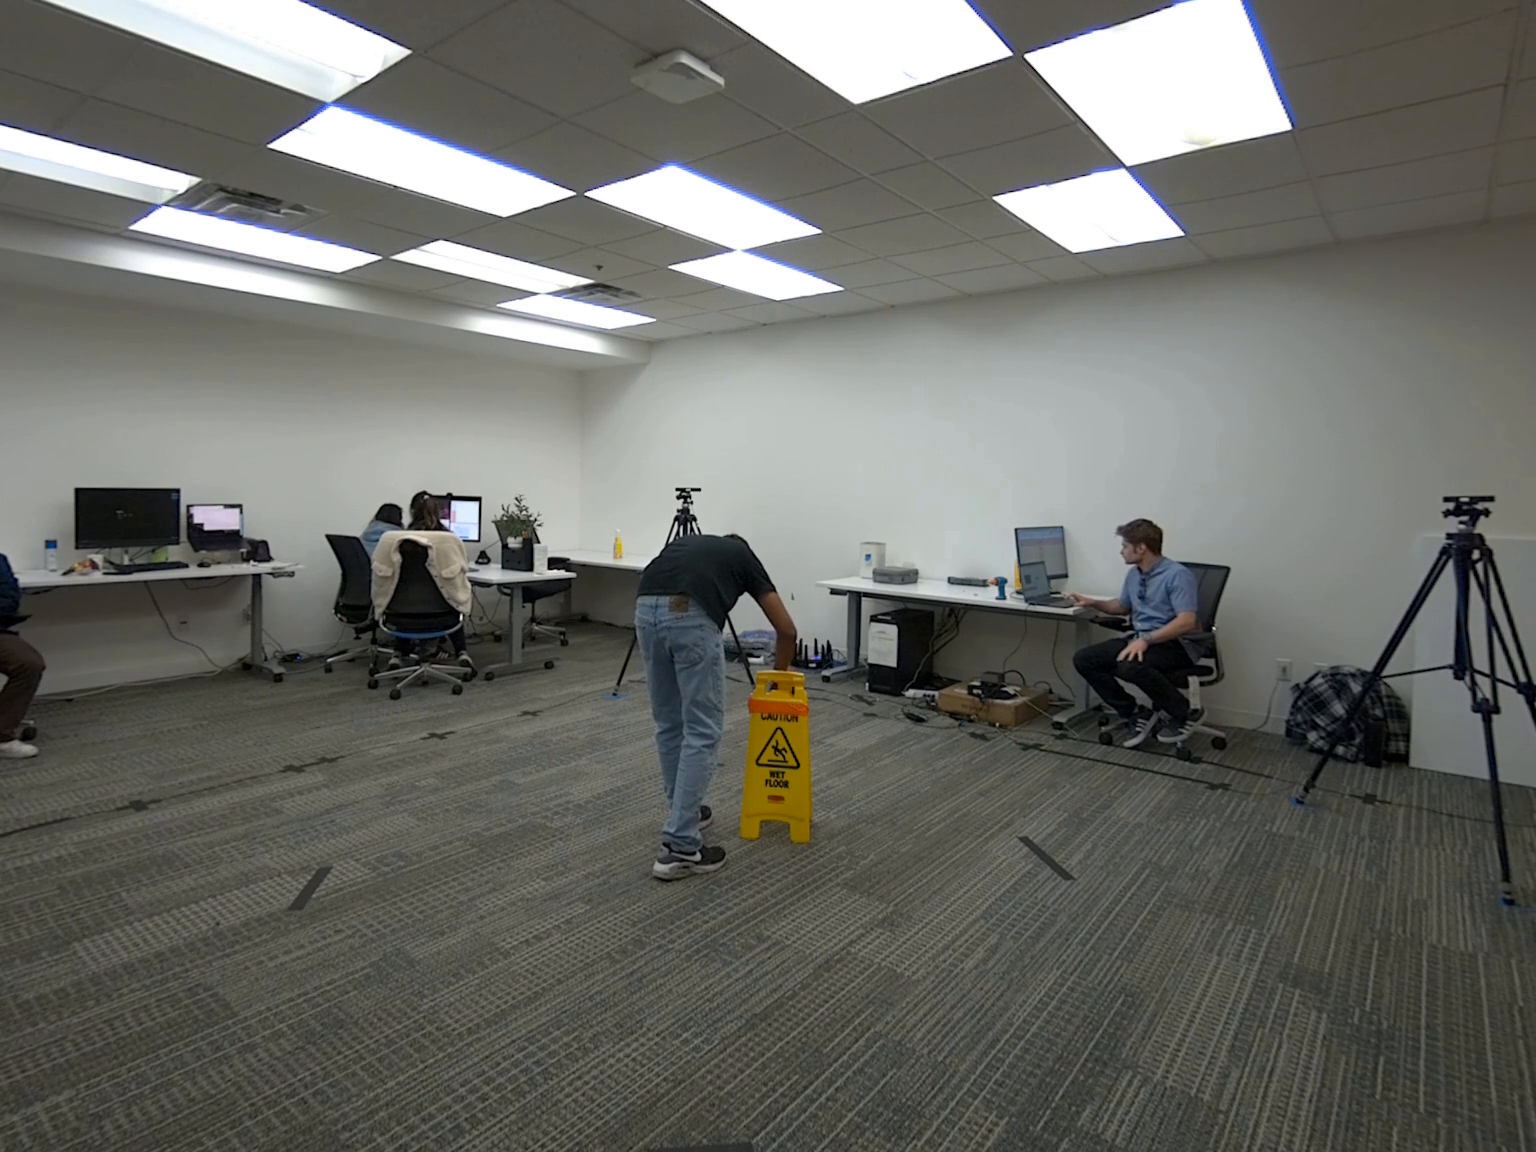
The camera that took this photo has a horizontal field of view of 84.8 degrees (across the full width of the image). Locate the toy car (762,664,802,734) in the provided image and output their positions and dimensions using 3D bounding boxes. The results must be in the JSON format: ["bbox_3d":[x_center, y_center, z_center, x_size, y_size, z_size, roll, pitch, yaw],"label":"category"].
[{"bbox_3d":[0.057,0.514,3.527,0.131,0.253,0.083,8,6,4],"label":"toy car"}]
